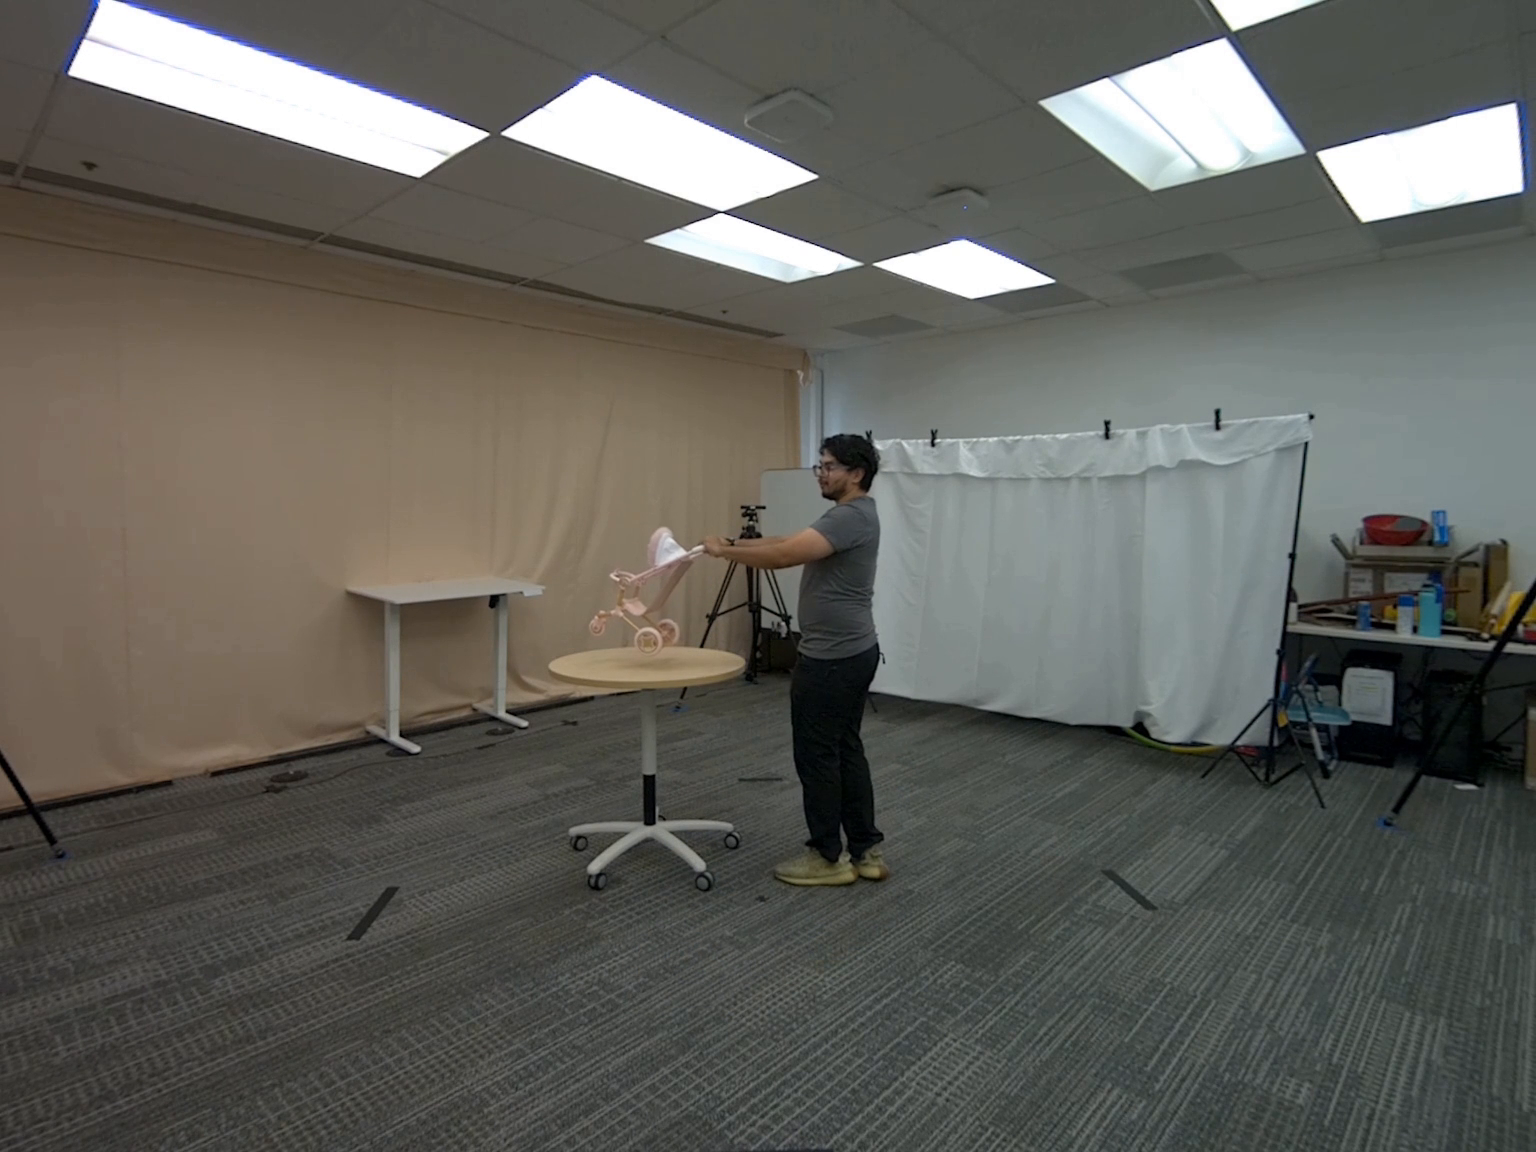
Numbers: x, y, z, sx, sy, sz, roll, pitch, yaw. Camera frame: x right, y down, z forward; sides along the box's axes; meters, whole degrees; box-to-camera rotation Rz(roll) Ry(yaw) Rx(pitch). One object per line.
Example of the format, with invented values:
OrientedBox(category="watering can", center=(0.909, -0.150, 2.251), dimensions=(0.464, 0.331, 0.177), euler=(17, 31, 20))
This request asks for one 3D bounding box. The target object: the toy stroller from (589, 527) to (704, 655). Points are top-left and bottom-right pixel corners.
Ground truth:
OrientedBox(category="toy stroller", center=(-0.454, 0.053, 3.263), dimensions=(0.347, 0.534, 0.277), euler=(25, 9, 13))
